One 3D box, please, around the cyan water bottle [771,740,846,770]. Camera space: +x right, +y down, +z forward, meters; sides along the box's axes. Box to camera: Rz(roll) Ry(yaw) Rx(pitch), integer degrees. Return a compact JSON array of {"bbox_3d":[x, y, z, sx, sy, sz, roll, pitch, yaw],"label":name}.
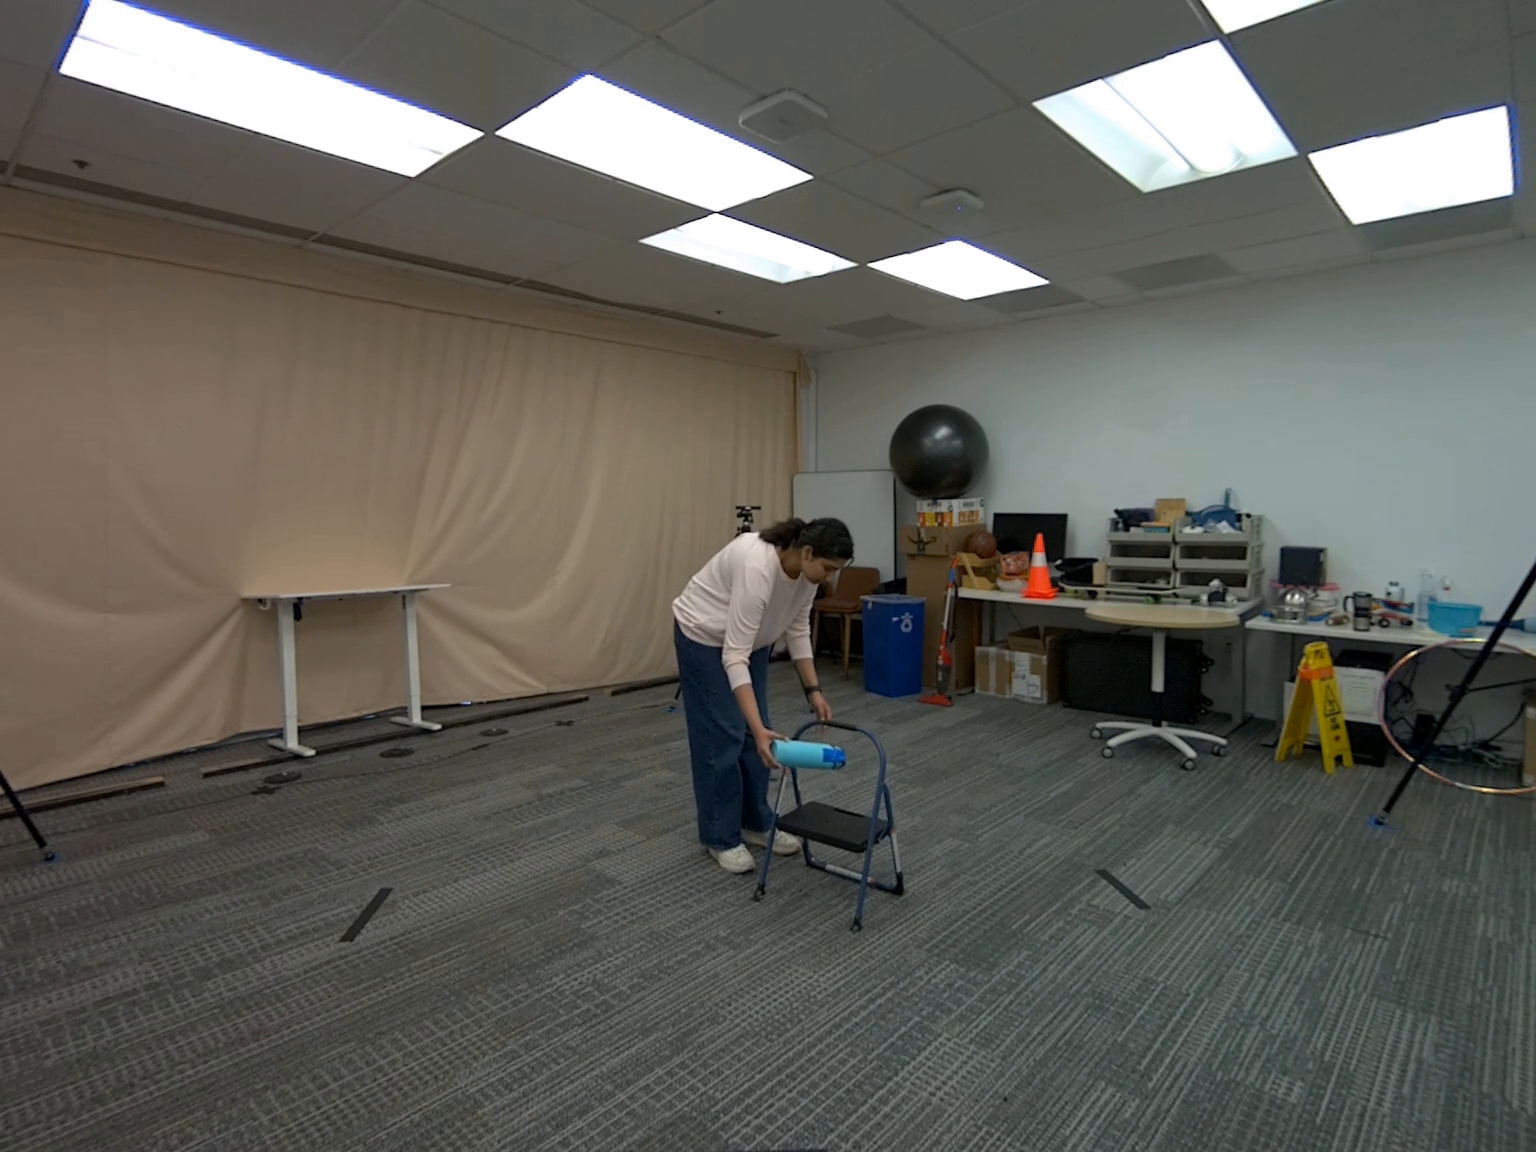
[{"bbox_3d":[0.152,0.619,2.935,0.278,0.092,0.094,9,0,-18],"label":"cyan water bottle"}]
